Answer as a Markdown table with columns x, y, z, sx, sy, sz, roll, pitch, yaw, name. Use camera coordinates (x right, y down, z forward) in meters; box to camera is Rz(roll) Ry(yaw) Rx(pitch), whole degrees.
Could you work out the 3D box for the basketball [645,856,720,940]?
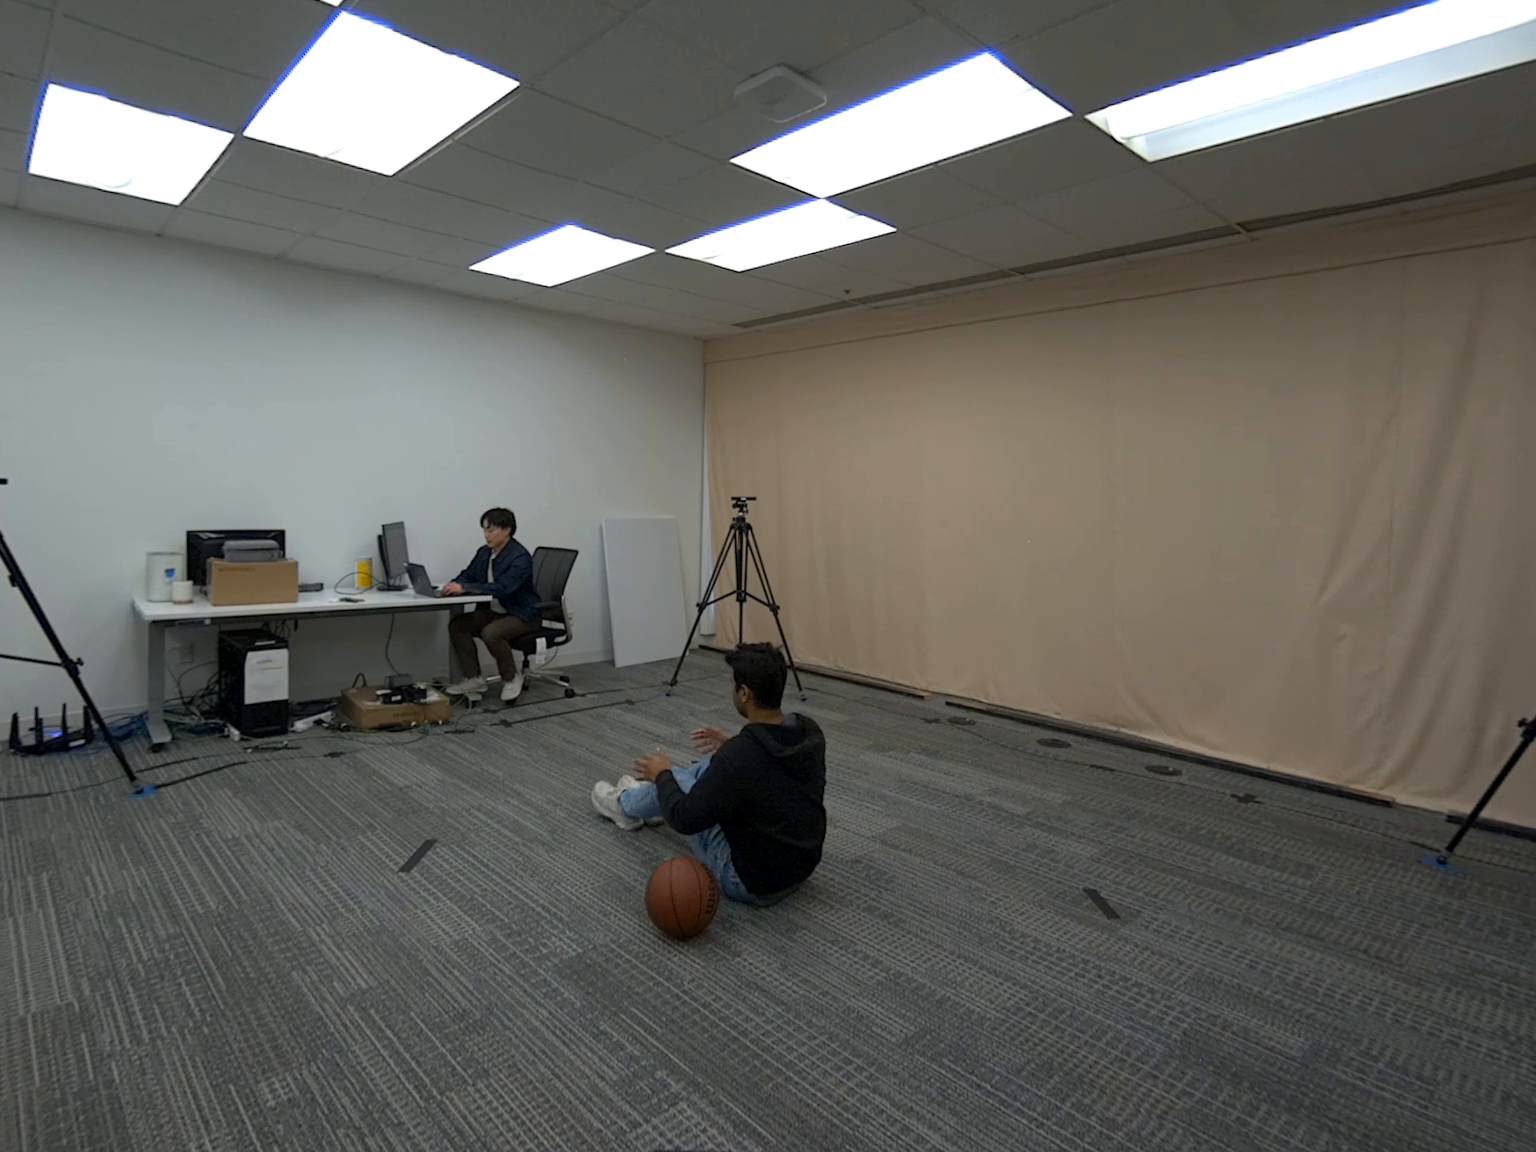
| x | y | z | sx | sy | sz | roll | pitch | yaw | name |
| --- | --- | --- | --- | --- | --- | --- | --- | --- | --- |
| -0.284 | 1.022 | 2.682 | 0.236 | 0.235 | 0.237 | 1 | 4 | -1 | basketball |
